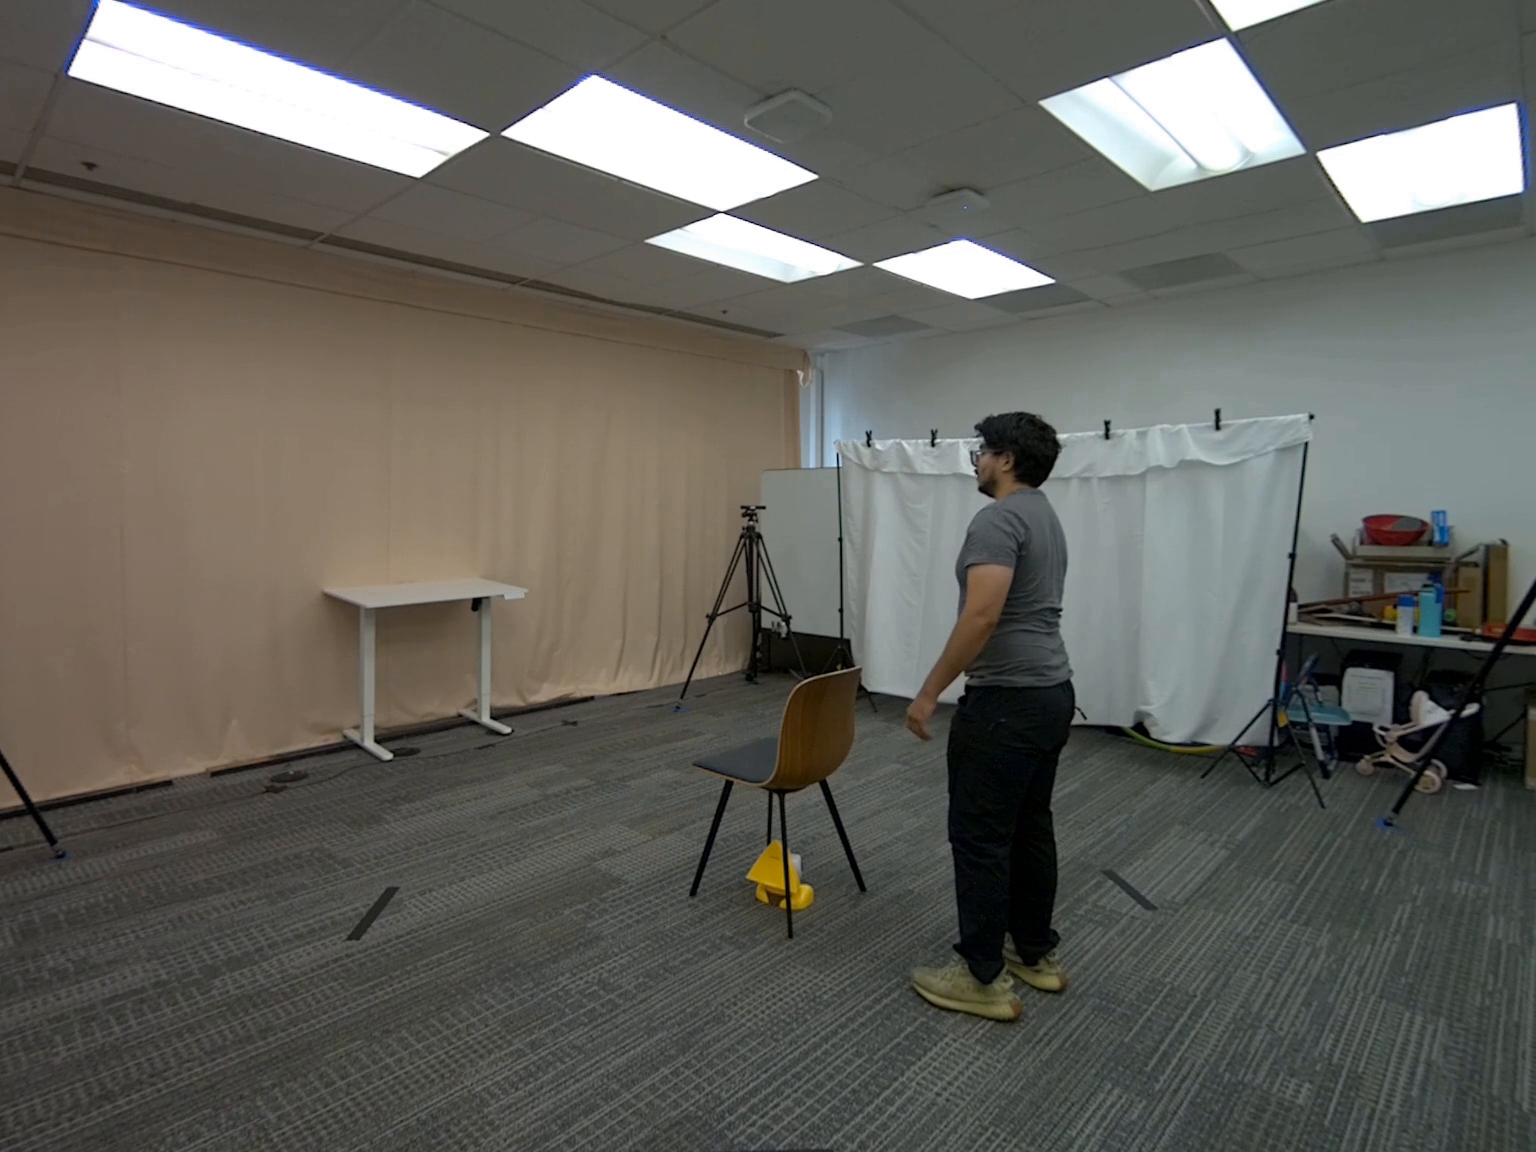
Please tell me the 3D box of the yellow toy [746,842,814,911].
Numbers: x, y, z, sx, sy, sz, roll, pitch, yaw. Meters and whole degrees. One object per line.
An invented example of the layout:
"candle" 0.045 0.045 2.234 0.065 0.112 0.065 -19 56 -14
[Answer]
"yellow toy" 0.062 1.029 2.979 0.211 0.230 0.188 3 5 33
